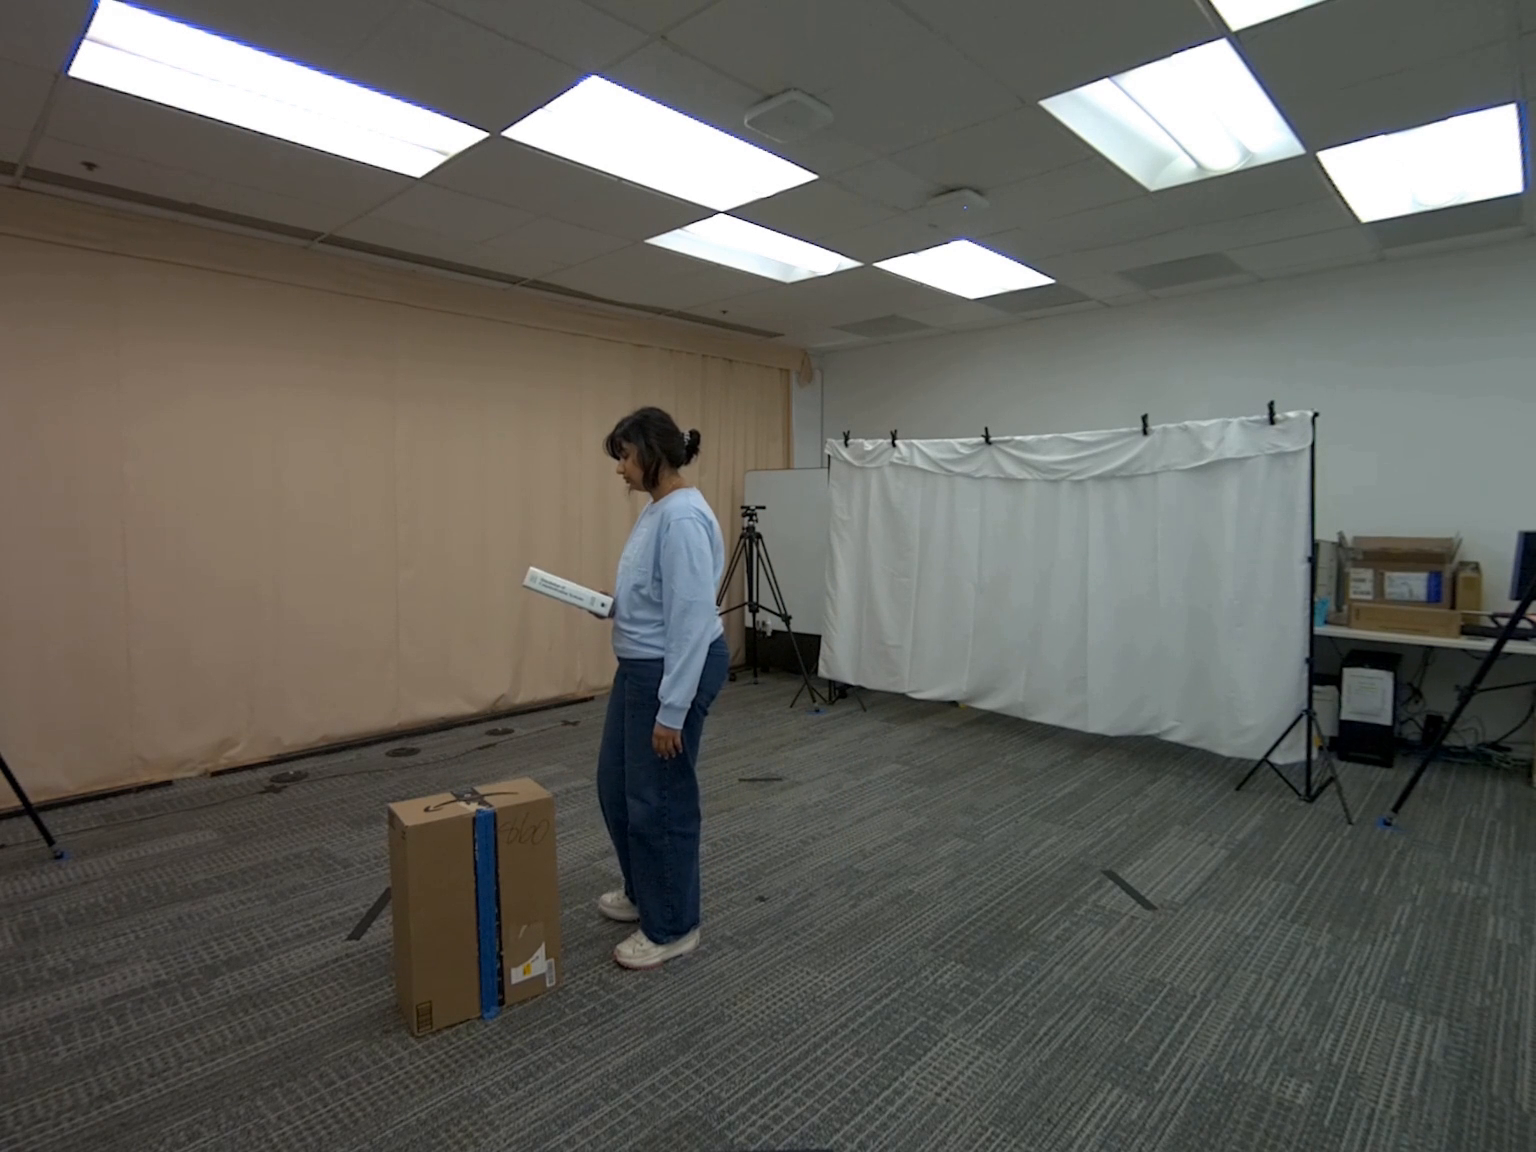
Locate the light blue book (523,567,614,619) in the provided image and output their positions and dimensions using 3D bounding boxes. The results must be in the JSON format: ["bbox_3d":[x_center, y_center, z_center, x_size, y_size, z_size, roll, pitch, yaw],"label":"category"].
[{"bbox_3d":[-0.612,0.046,2.557,0.257,0.059,0.194,21,-4,-12],"label":"light blue book"}]
